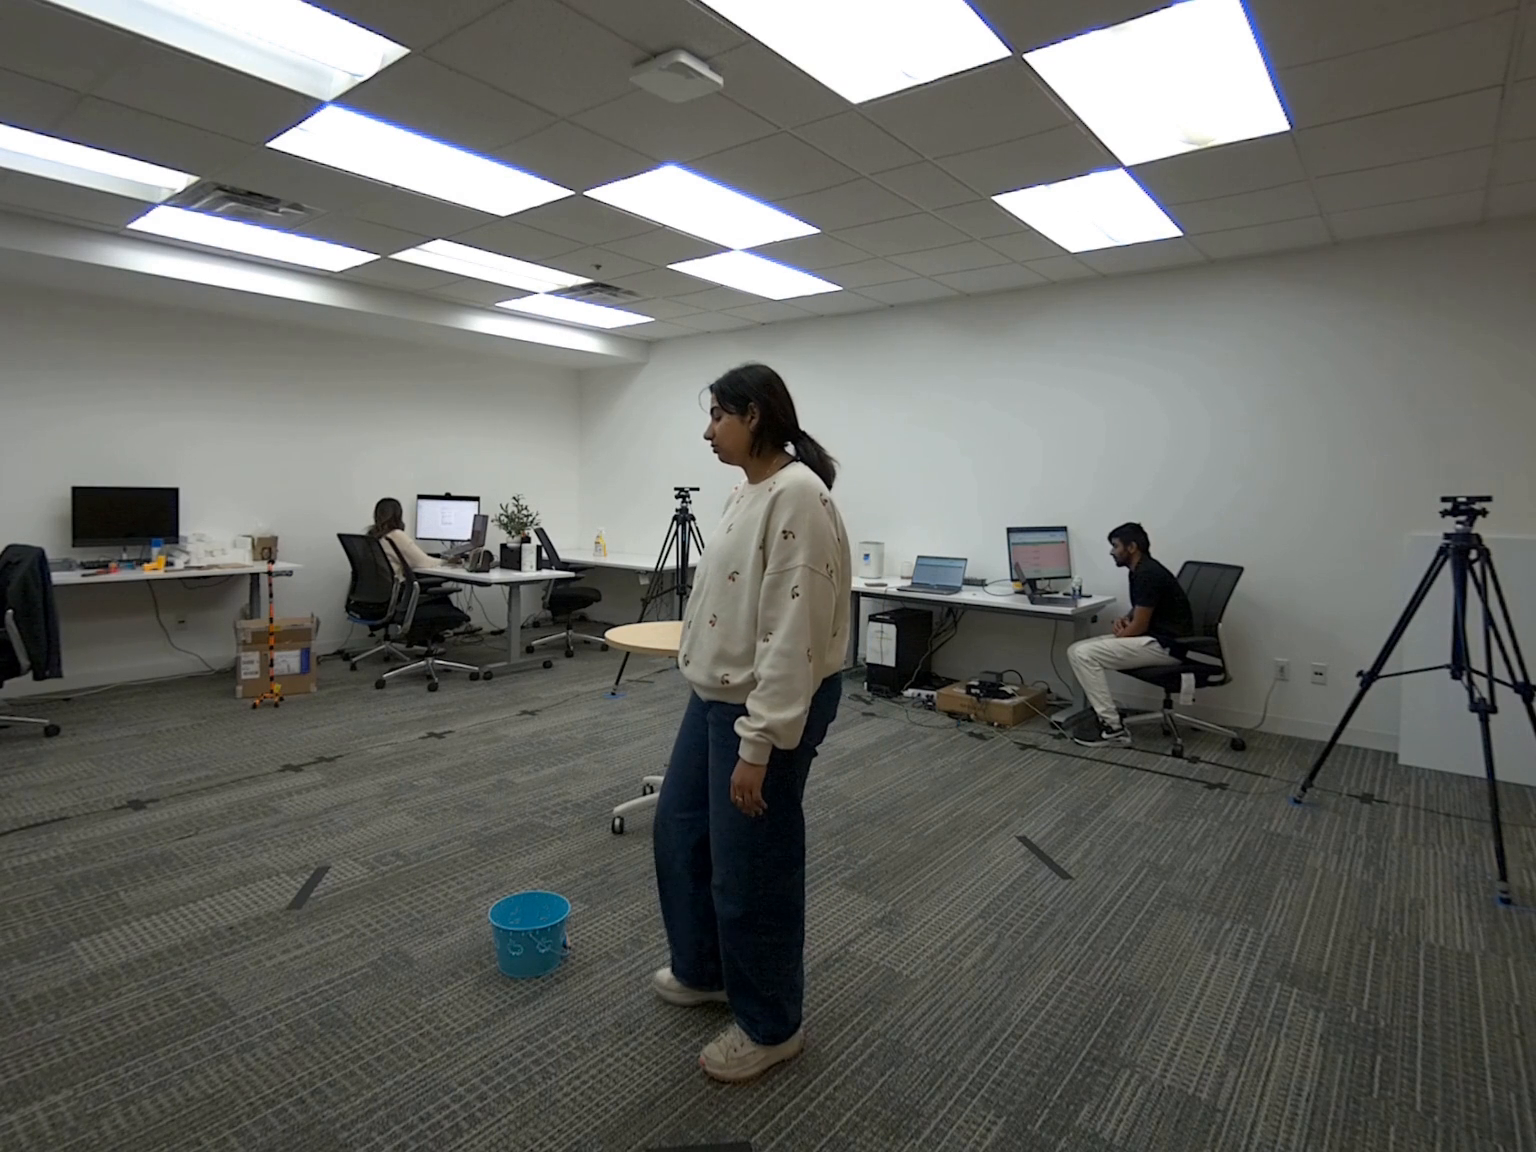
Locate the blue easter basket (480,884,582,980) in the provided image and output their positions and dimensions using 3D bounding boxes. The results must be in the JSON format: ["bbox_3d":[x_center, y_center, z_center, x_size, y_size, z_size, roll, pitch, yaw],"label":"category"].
[{"bbox_3d":[-0.692,1.040,2.478,0.243,0.155,0.245,0,5,-2],"label":"blue easter basket"}]
